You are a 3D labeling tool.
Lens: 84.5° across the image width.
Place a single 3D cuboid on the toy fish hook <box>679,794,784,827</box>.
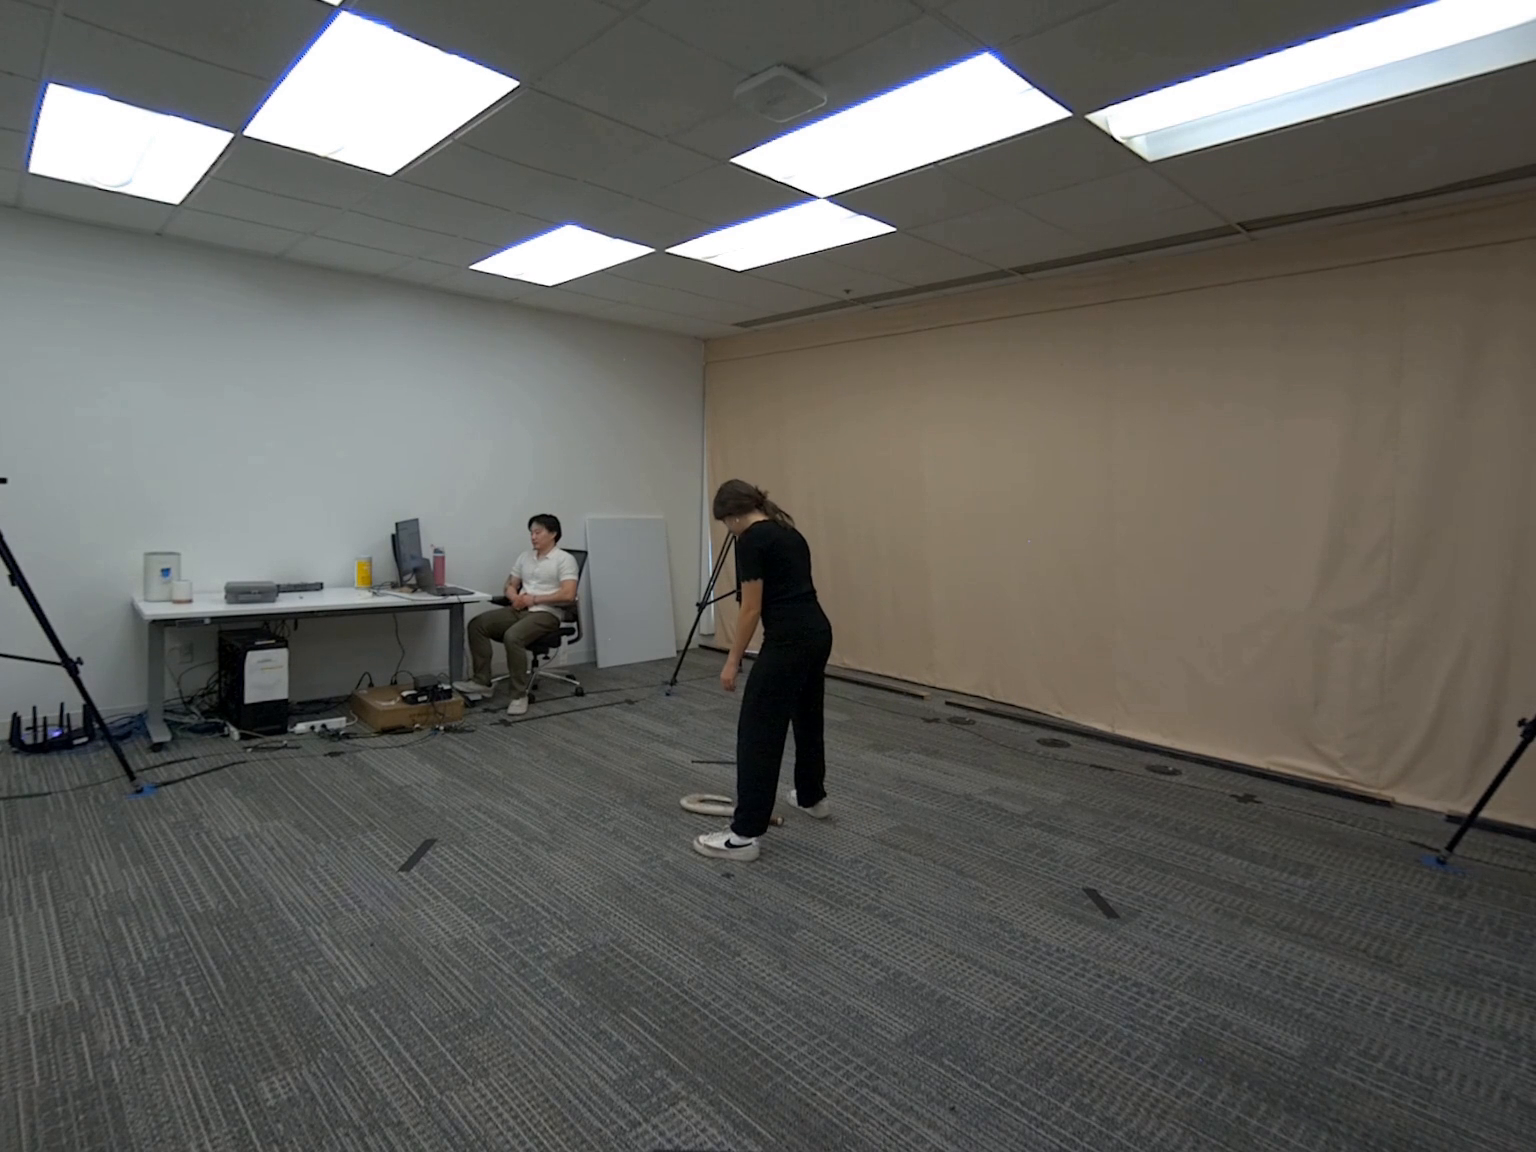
[{"bbox_3d":[-0.155,1.024,3.737,0.517,0.048,0.221,4,8,26],"label":"toy fish hook"}]
